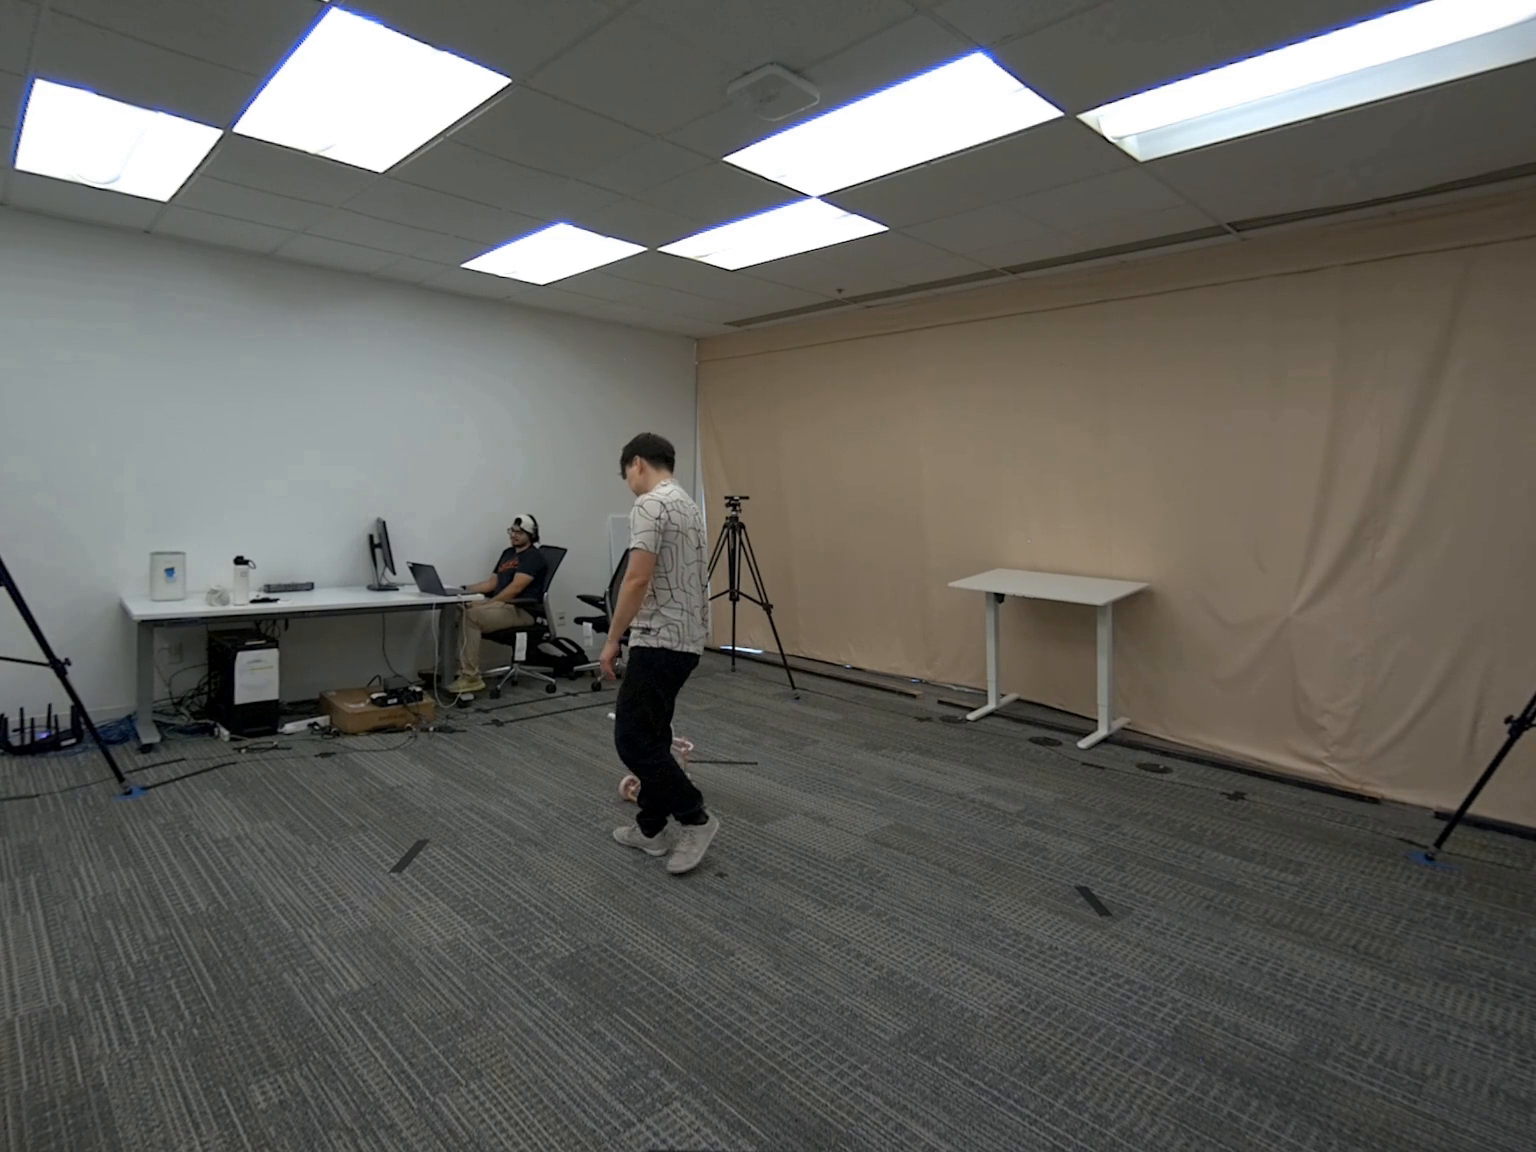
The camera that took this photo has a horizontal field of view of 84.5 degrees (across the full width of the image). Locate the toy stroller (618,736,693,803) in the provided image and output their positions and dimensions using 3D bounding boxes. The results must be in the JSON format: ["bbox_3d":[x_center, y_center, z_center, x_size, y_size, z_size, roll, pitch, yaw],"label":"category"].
[{"bbox_3d":[-0.502,0.813,3.802,0.336,0.528,0.289,-21,18,-37],"label":"toy stroller"}]
